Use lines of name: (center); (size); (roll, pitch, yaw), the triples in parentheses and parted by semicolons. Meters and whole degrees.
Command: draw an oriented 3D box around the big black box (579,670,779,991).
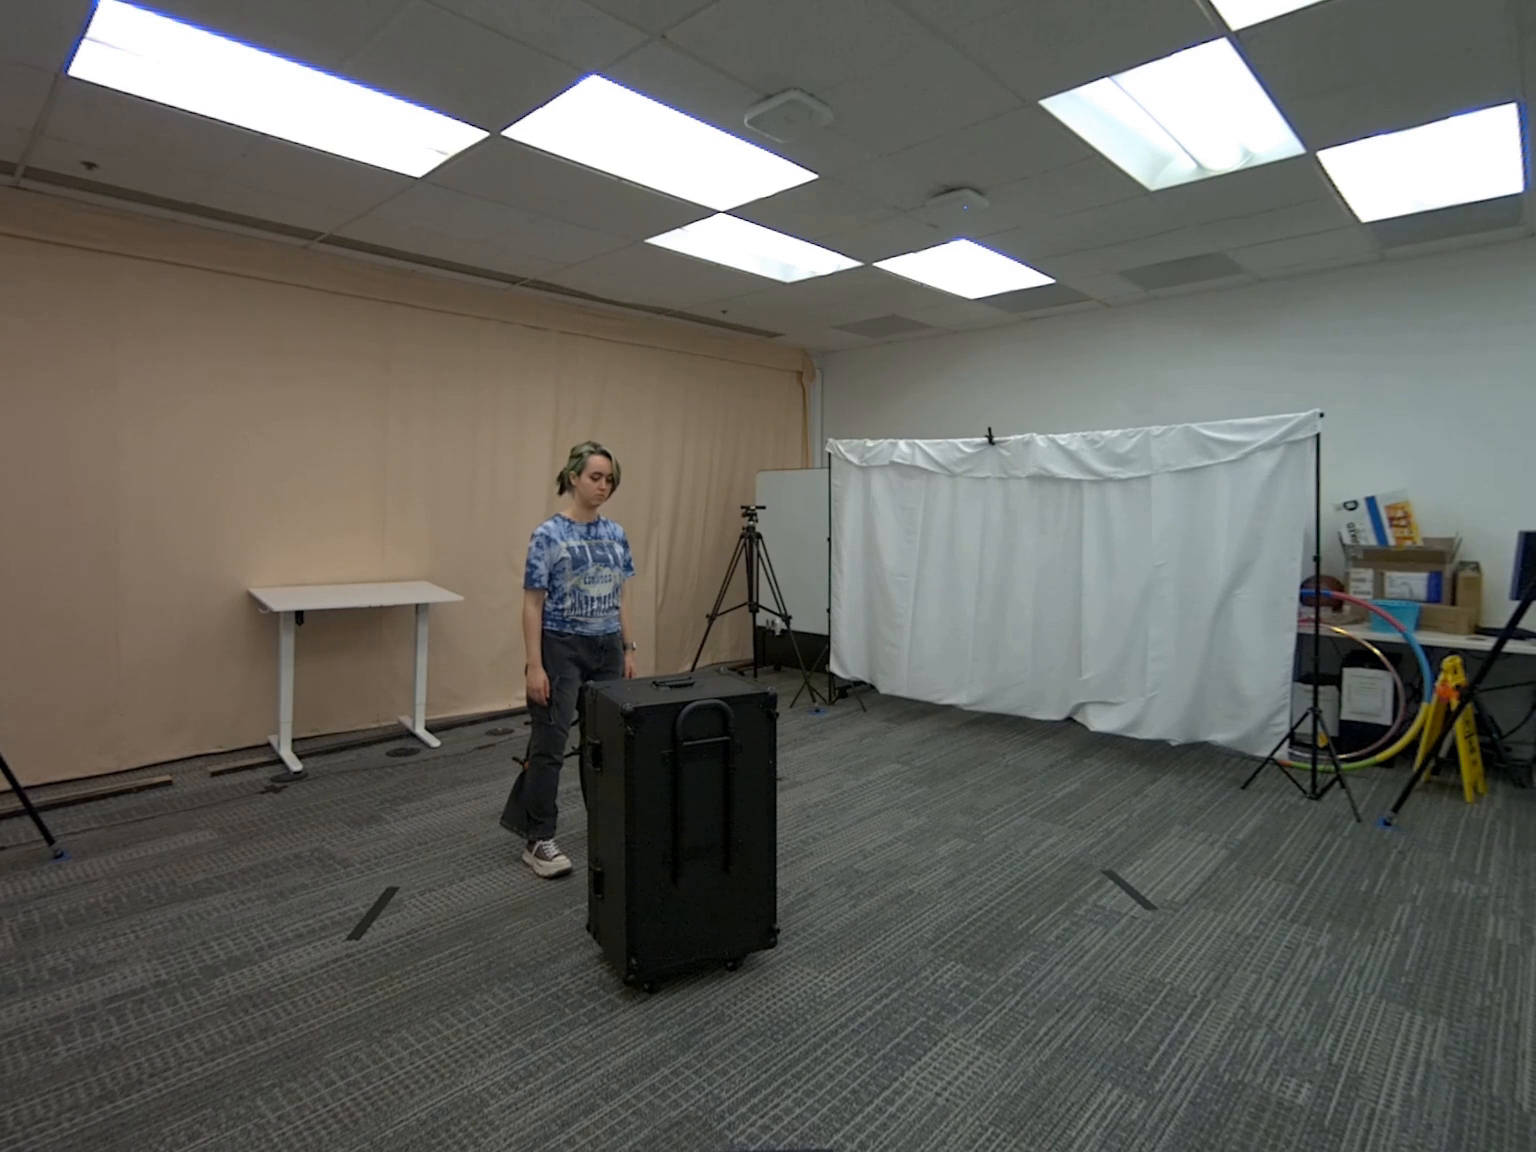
big black box: (-0.255, 0.758, 2.550); (0.508, 0.859, 0.407); (-2, 5, -28)
